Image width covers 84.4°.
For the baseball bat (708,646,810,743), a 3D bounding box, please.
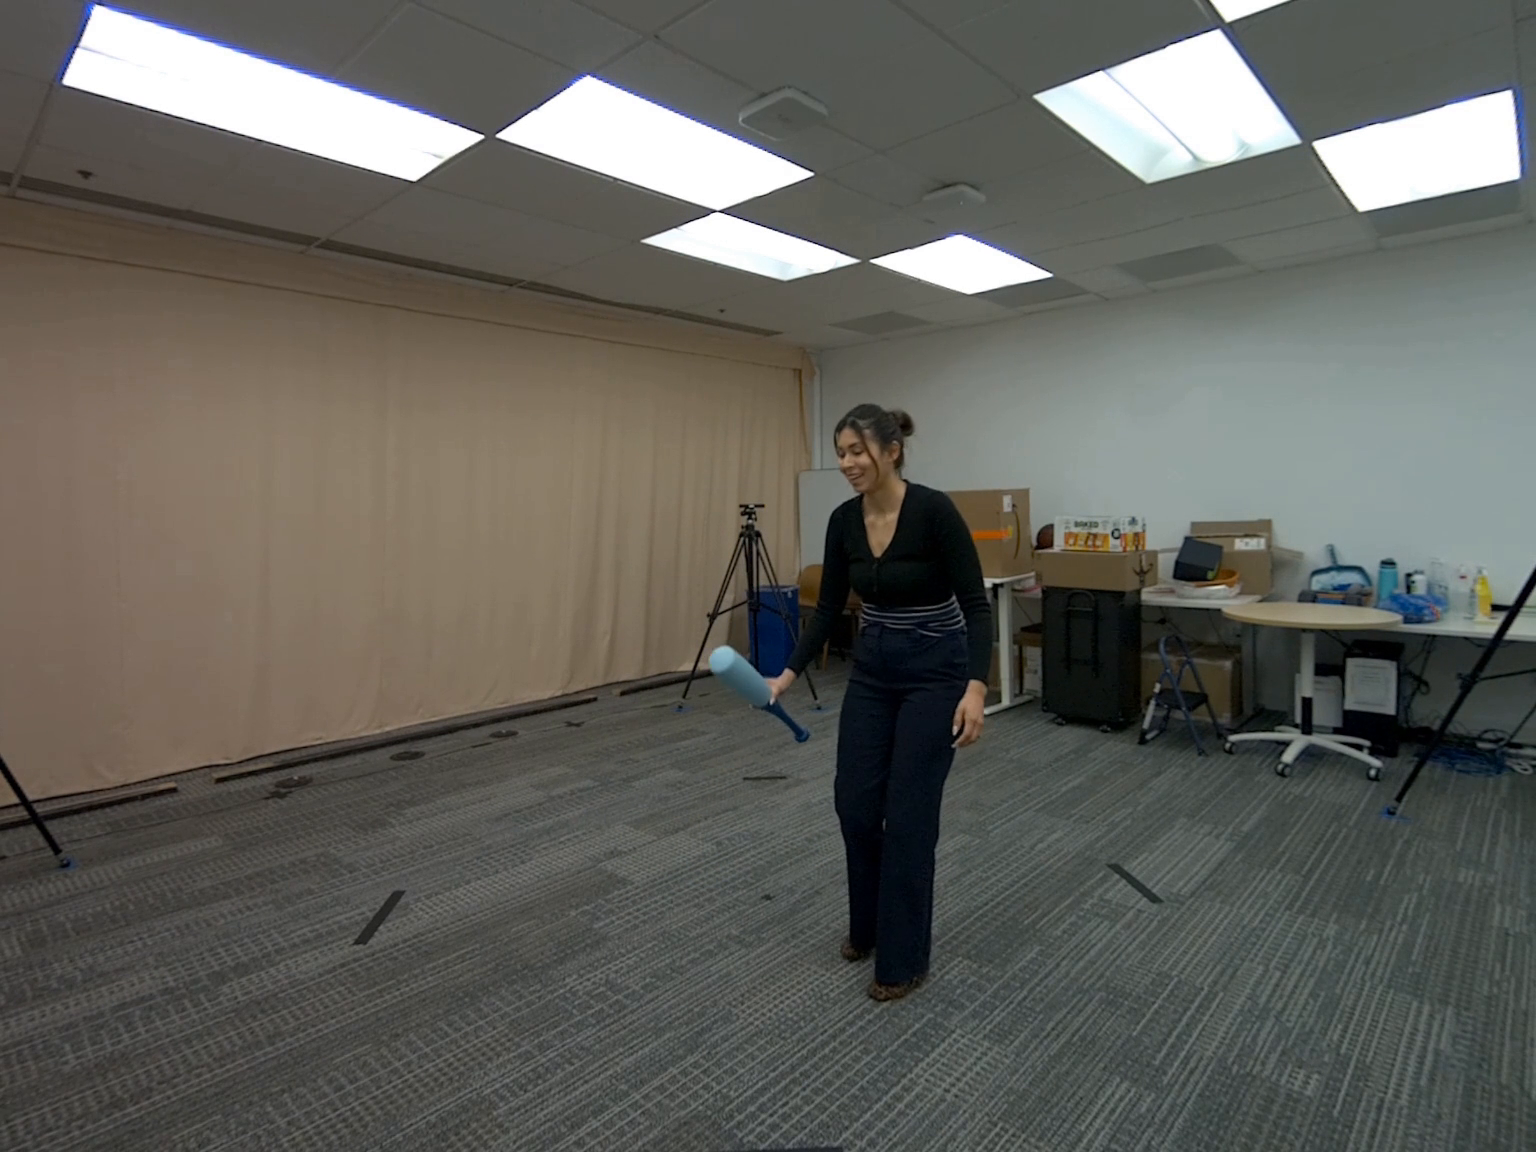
[{"bbox_3d":[-0.003,0.372,2.461,0.092,0.089,0.524,2,-31,33],"label":"baseball bat"}]
